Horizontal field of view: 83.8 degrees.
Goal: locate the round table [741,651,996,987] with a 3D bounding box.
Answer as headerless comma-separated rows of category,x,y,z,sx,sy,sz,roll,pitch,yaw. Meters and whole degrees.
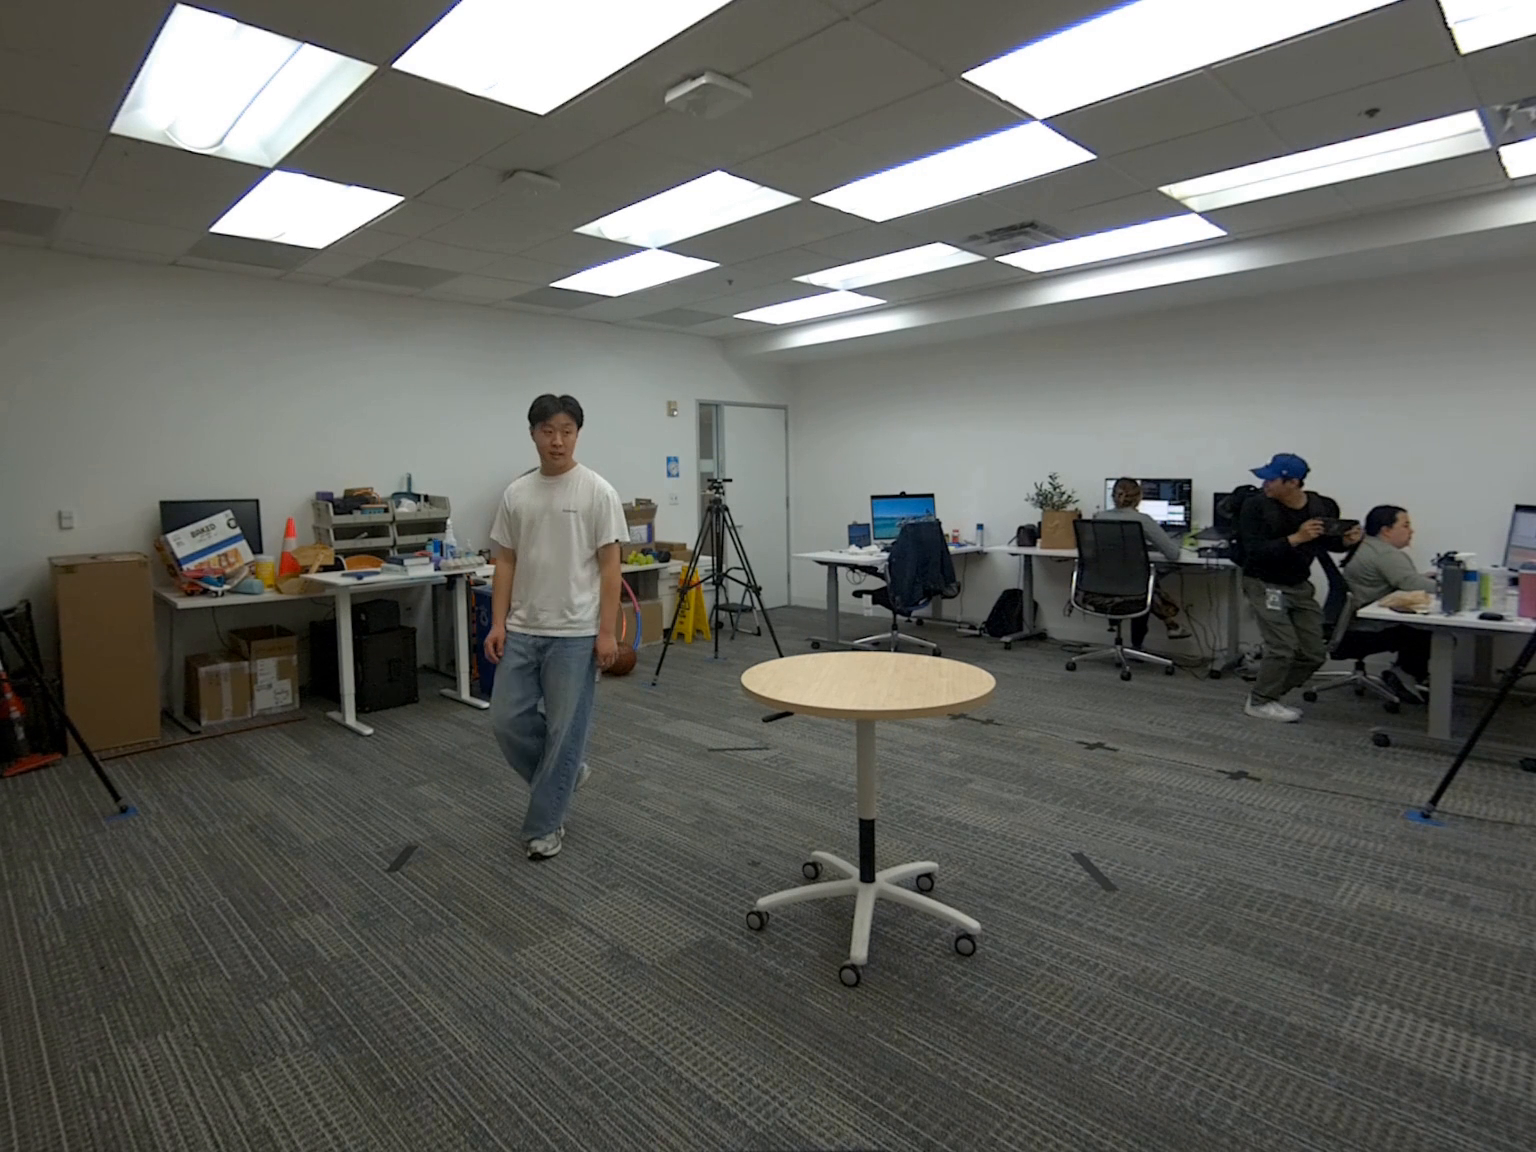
round table,0.309,0.701,2.657,0.763,0.791,0.768,-1,5,-2
